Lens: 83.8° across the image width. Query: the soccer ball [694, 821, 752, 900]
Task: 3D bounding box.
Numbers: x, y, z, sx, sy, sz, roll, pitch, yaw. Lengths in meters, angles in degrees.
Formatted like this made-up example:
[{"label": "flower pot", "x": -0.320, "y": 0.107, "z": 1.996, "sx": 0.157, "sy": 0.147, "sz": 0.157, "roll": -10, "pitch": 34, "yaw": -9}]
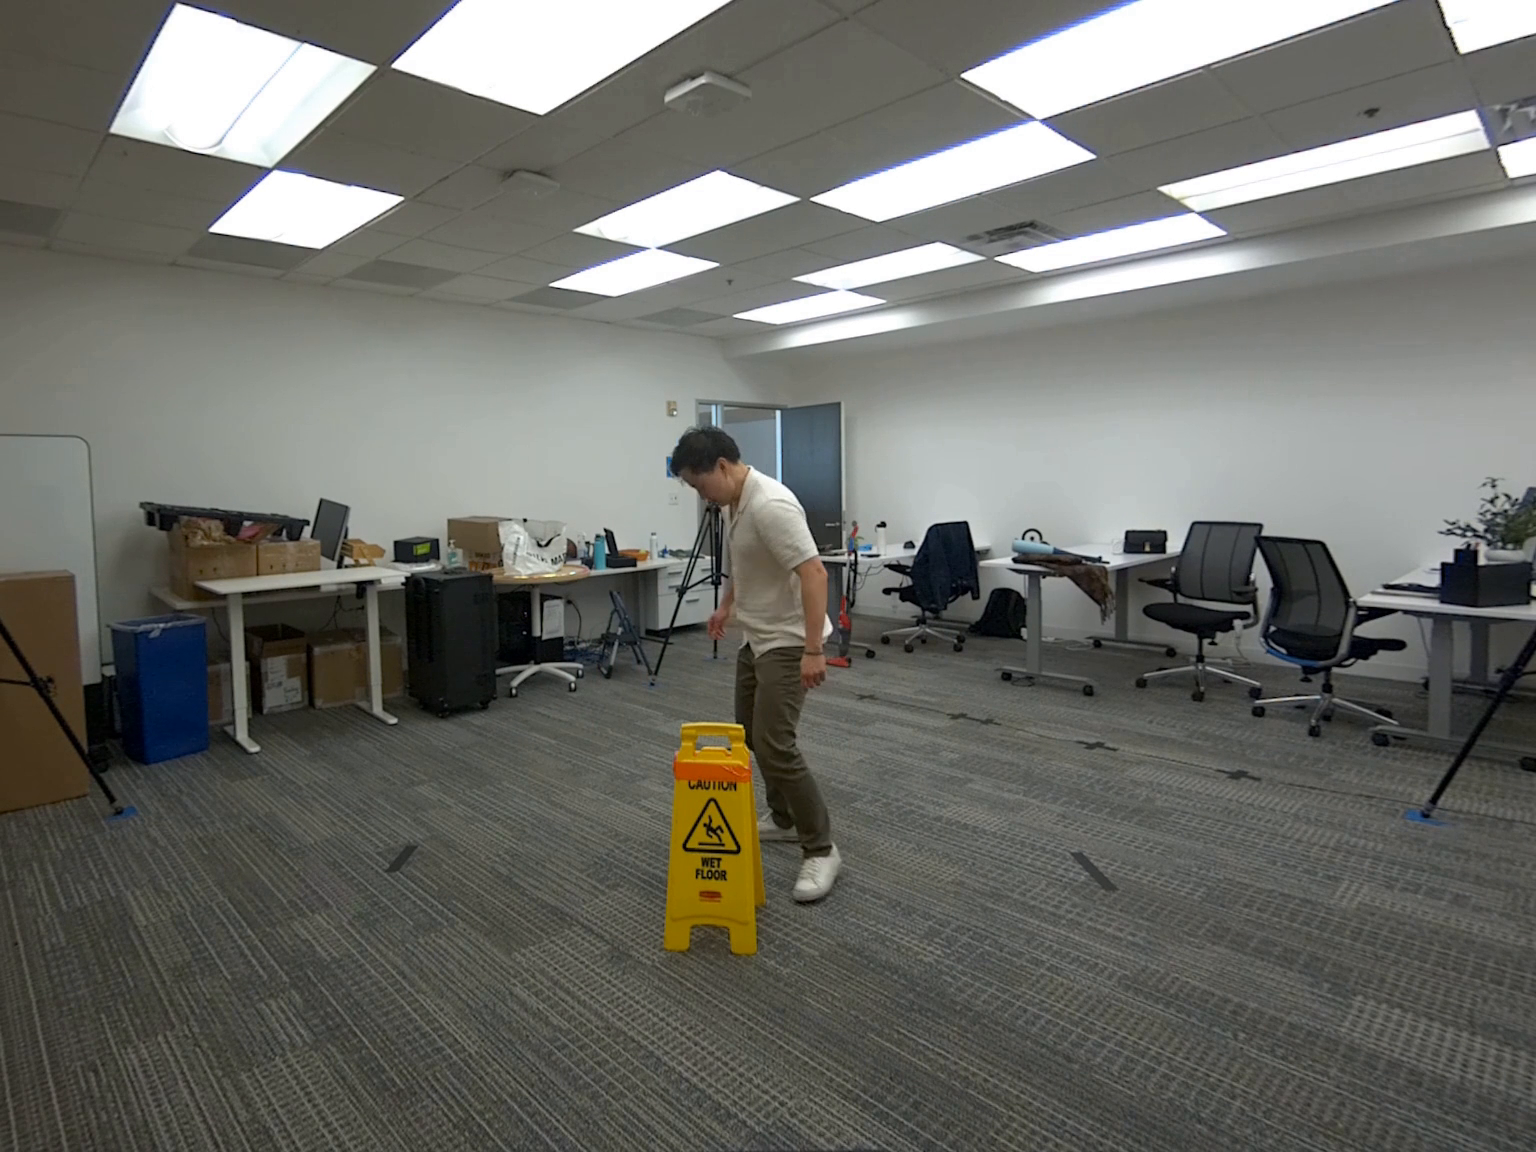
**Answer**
[{"label": "soccer ball", "x": -0.157, "y": 0.972, "z": 2.948, "sx": 0.187, "sy": 0.187, "sz": 0.188, "roll": -1, "pitch": 5, "yaw": -2}]
